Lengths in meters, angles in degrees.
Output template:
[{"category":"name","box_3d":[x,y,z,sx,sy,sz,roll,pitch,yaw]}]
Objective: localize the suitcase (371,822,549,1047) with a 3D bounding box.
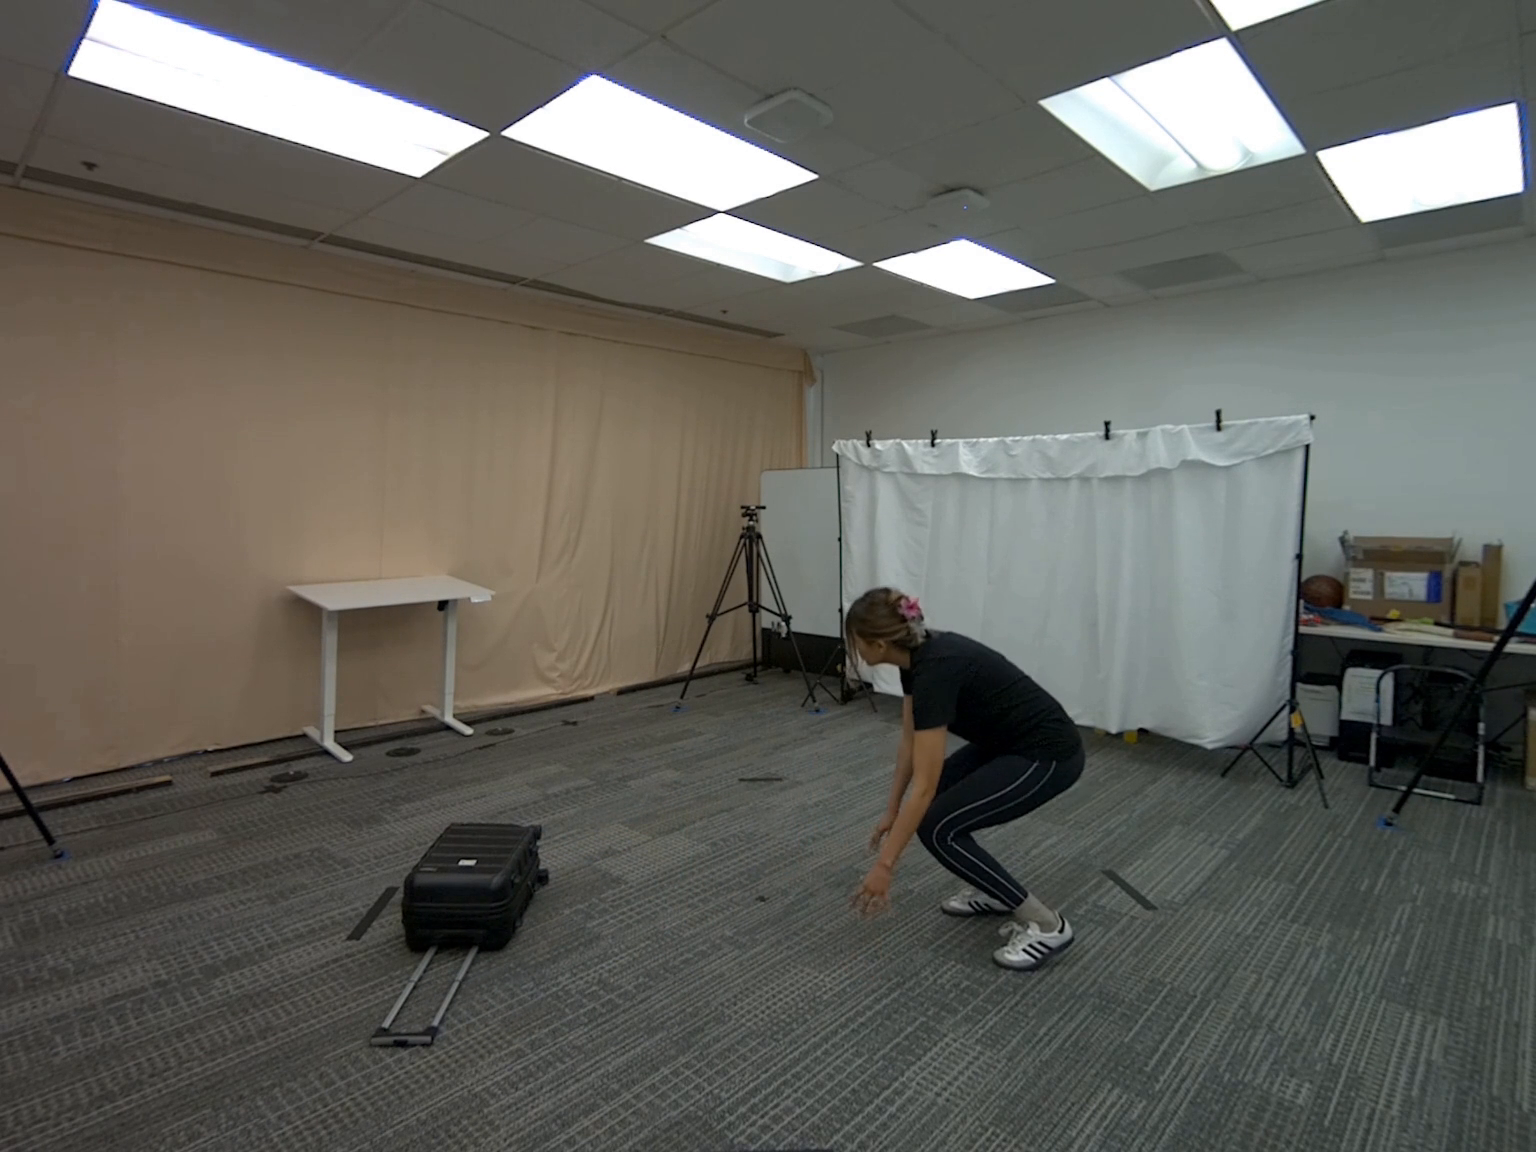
[{"category":"suitcase","box_3d":[-0.990,1.059,2.668,0.384,0.257,0.981,2,3,-2]}]
